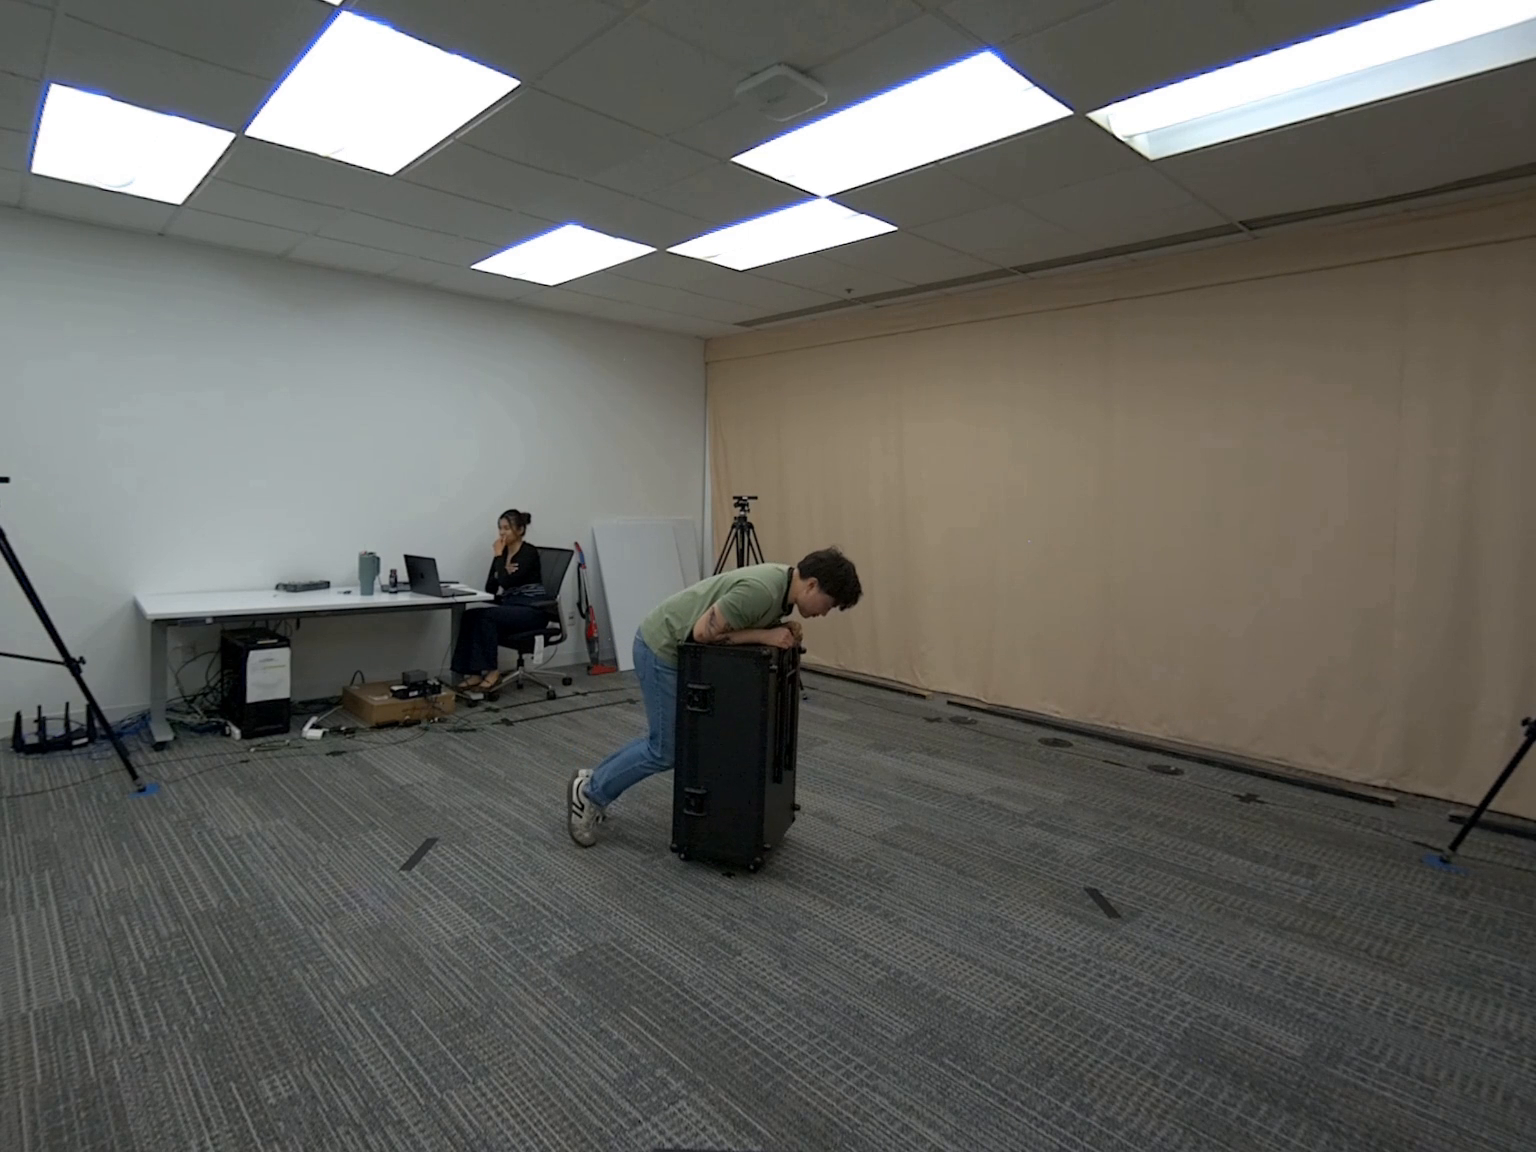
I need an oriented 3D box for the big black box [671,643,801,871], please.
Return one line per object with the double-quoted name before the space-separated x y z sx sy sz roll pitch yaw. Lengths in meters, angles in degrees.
"big black box" -0.108 0.674 3.277 0.402 0.859 0.515 4 4 17
